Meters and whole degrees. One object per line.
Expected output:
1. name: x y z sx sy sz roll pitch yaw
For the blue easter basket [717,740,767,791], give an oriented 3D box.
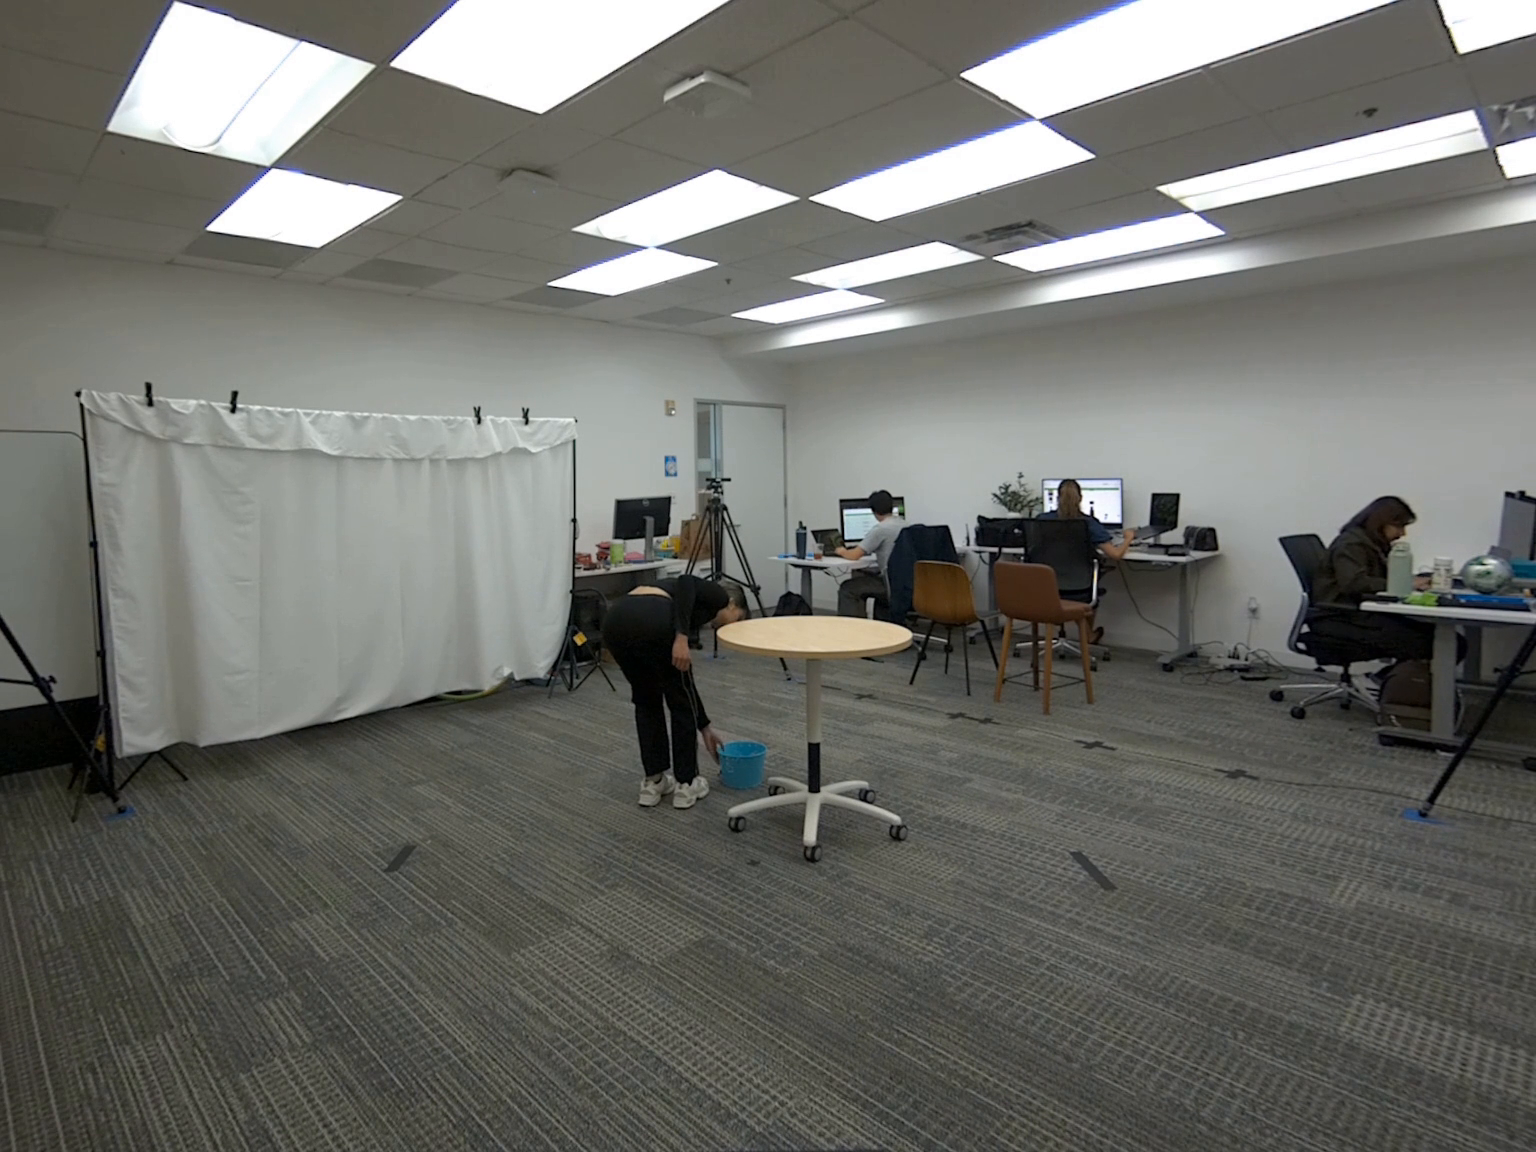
1. blue easter basket: -0.122 0.866 3.948 0.243 0.155 0.245 -1 5 -2
